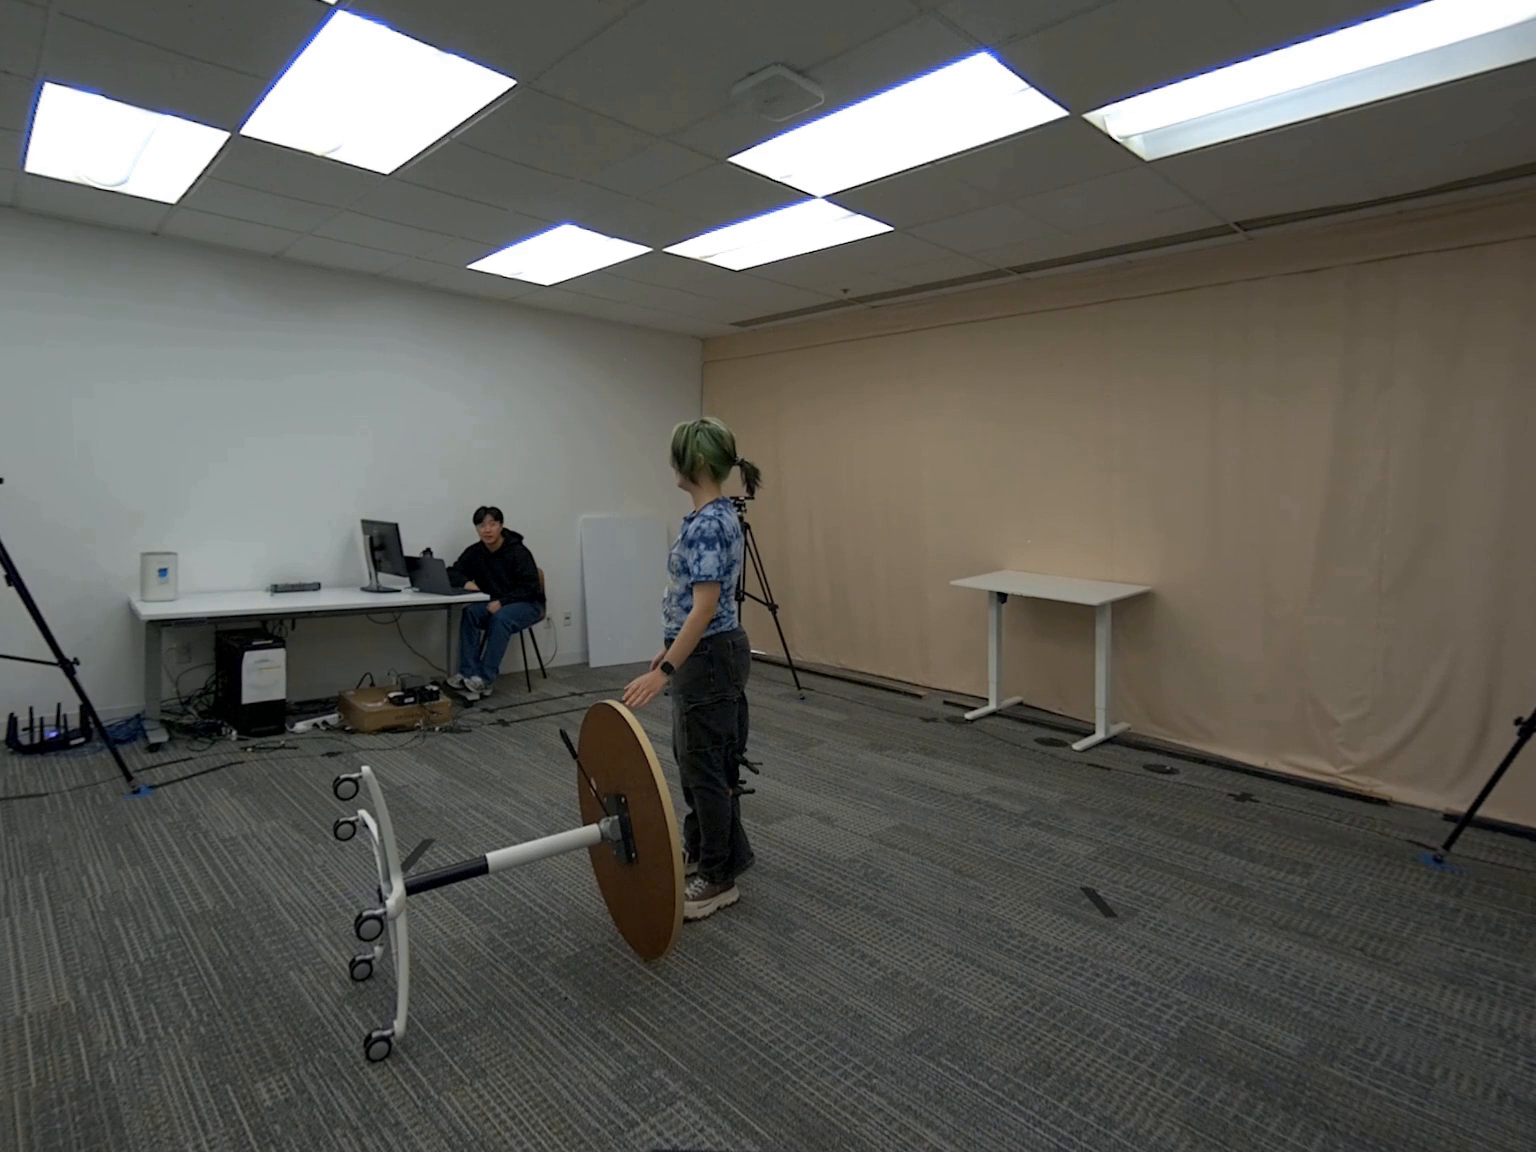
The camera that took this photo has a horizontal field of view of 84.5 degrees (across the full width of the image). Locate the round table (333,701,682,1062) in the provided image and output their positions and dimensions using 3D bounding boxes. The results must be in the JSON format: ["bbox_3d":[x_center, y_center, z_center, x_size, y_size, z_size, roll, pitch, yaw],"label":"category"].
[{"bbox_3d":[-0.773,0.817,2.387,0.780,0.760,0.782,-8,9,-30],"label":"round table"}]
